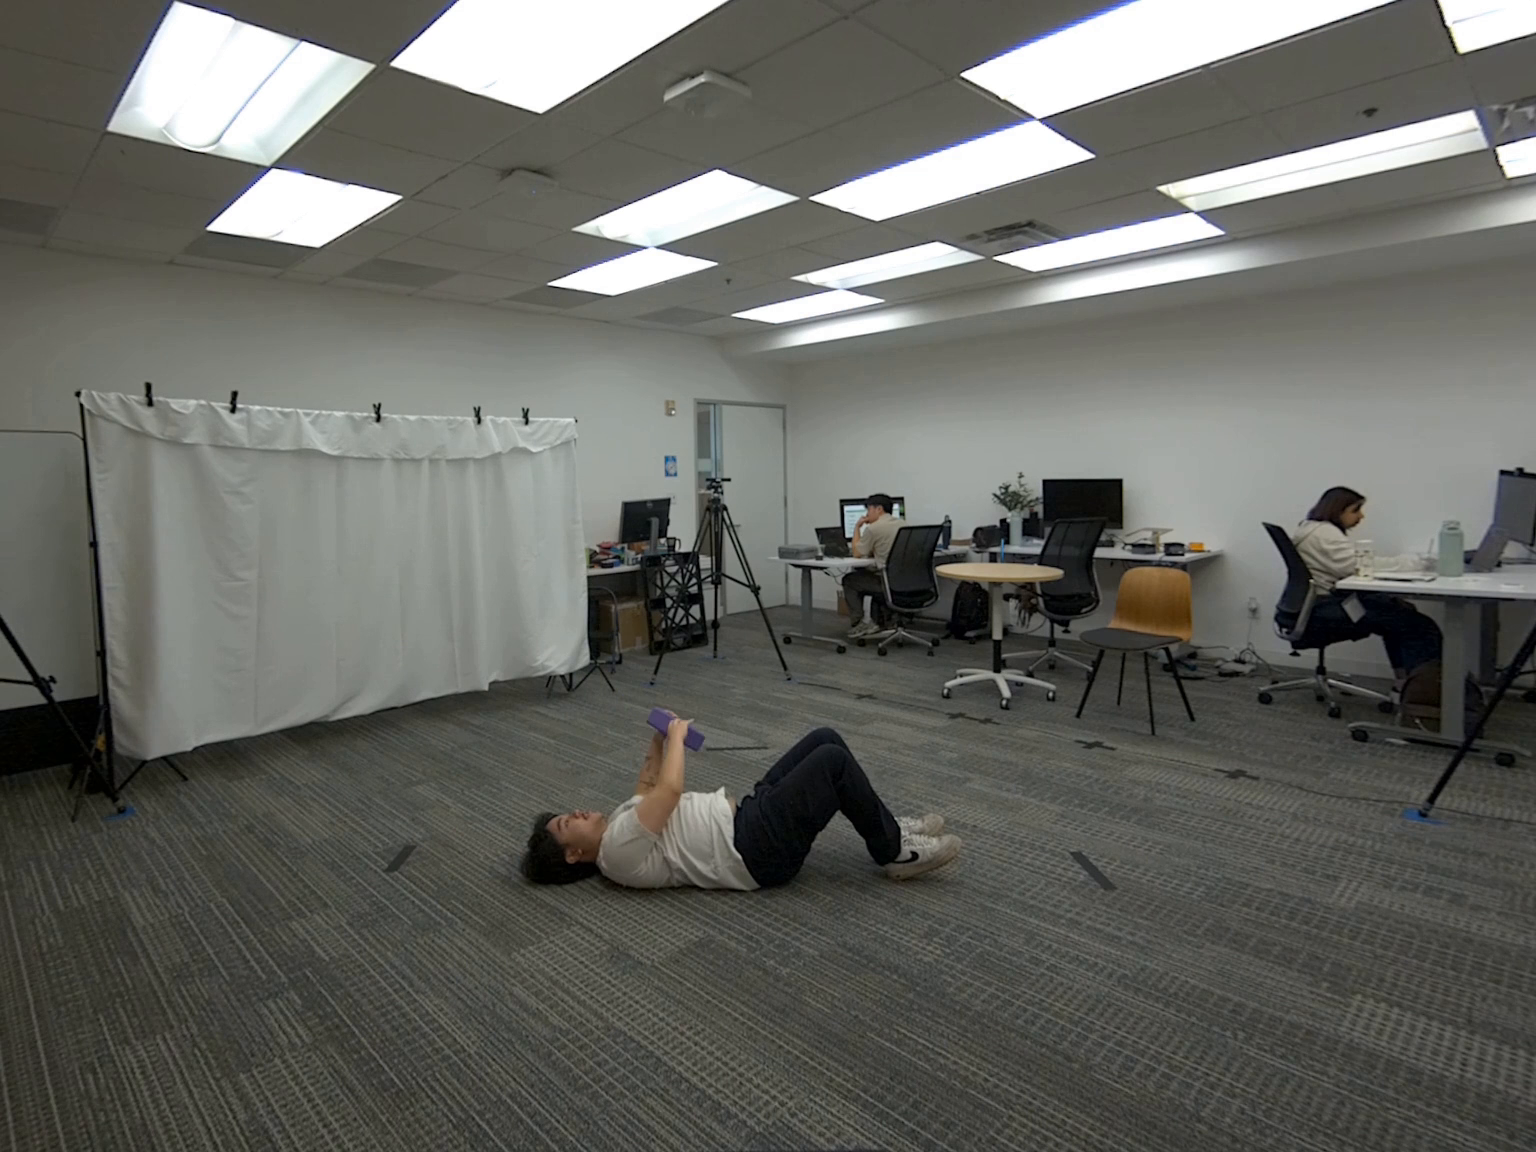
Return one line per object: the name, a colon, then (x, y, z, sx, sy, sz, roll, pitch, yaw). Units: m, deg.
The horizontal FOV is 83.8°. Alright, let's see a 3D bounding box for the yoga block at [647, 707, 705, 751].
yoga block: (-0.368, 0.626, 3.450, 0.154, 0.077, 0.220, 22, -15, 37)
